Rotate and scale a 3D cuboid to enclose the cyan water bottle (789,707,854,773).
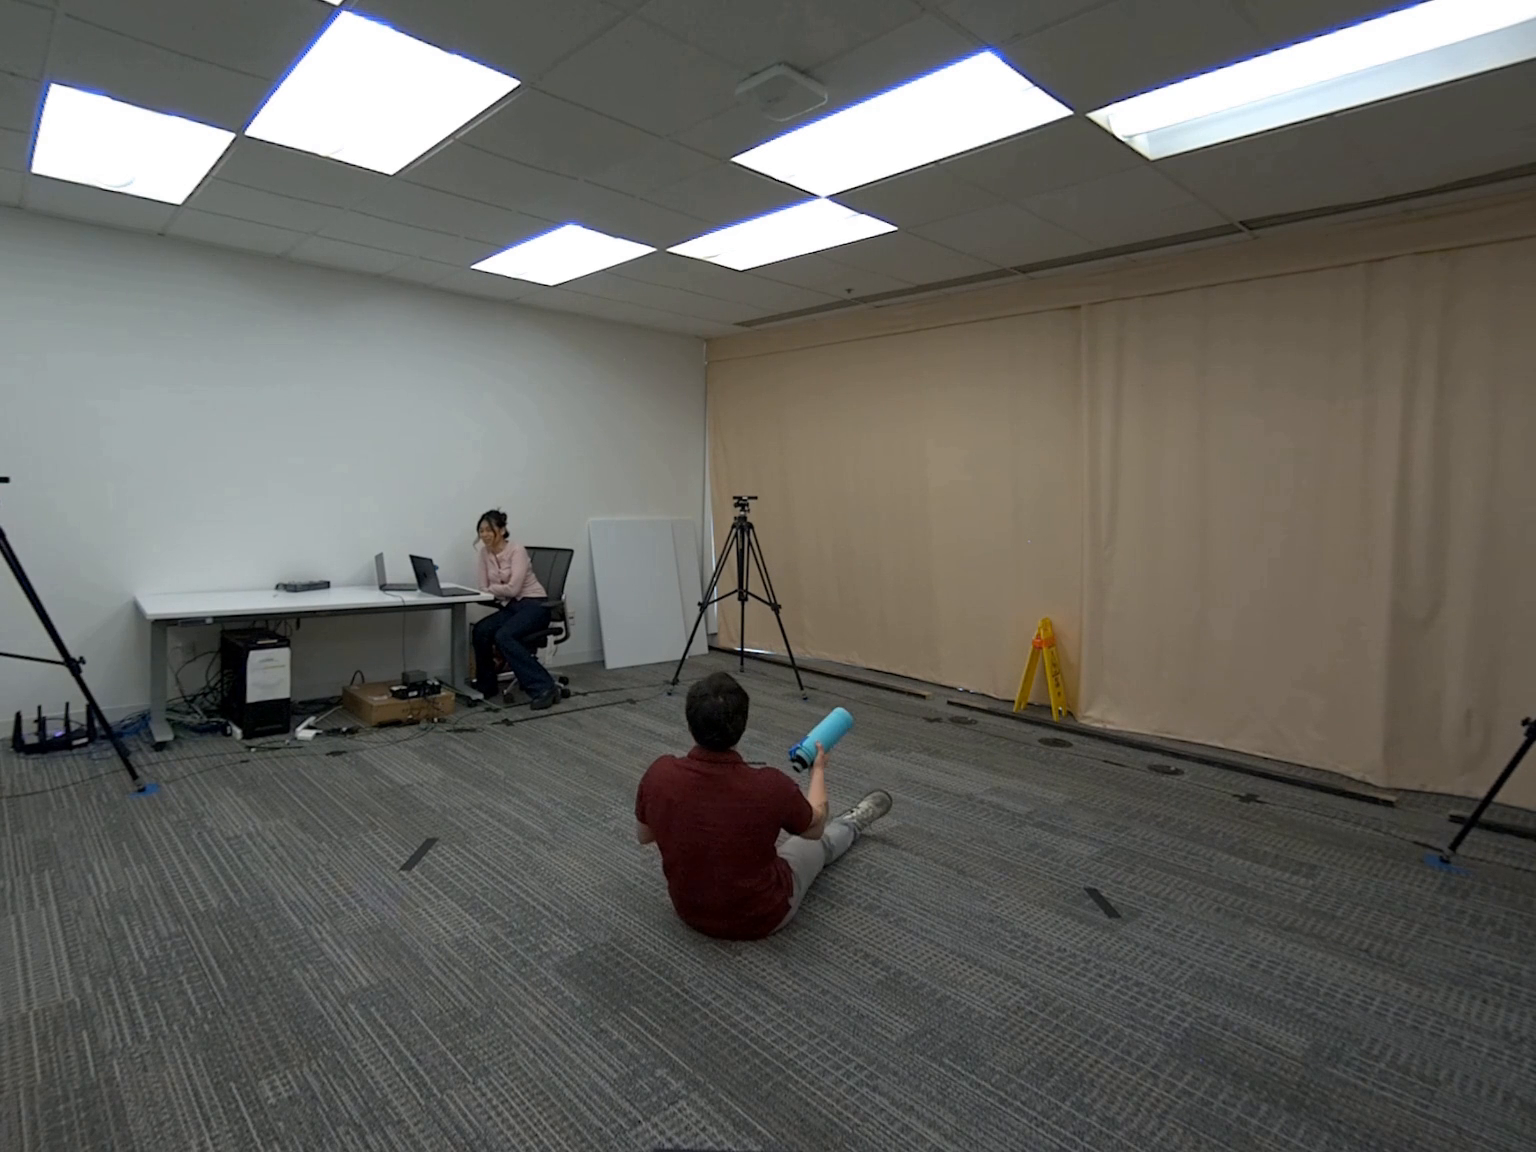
[{"bbox_3d":[0.182,0.592,3.006,0.282,0.090,0.094,-35,23,-28],"label":"cyan water bottle"}]
